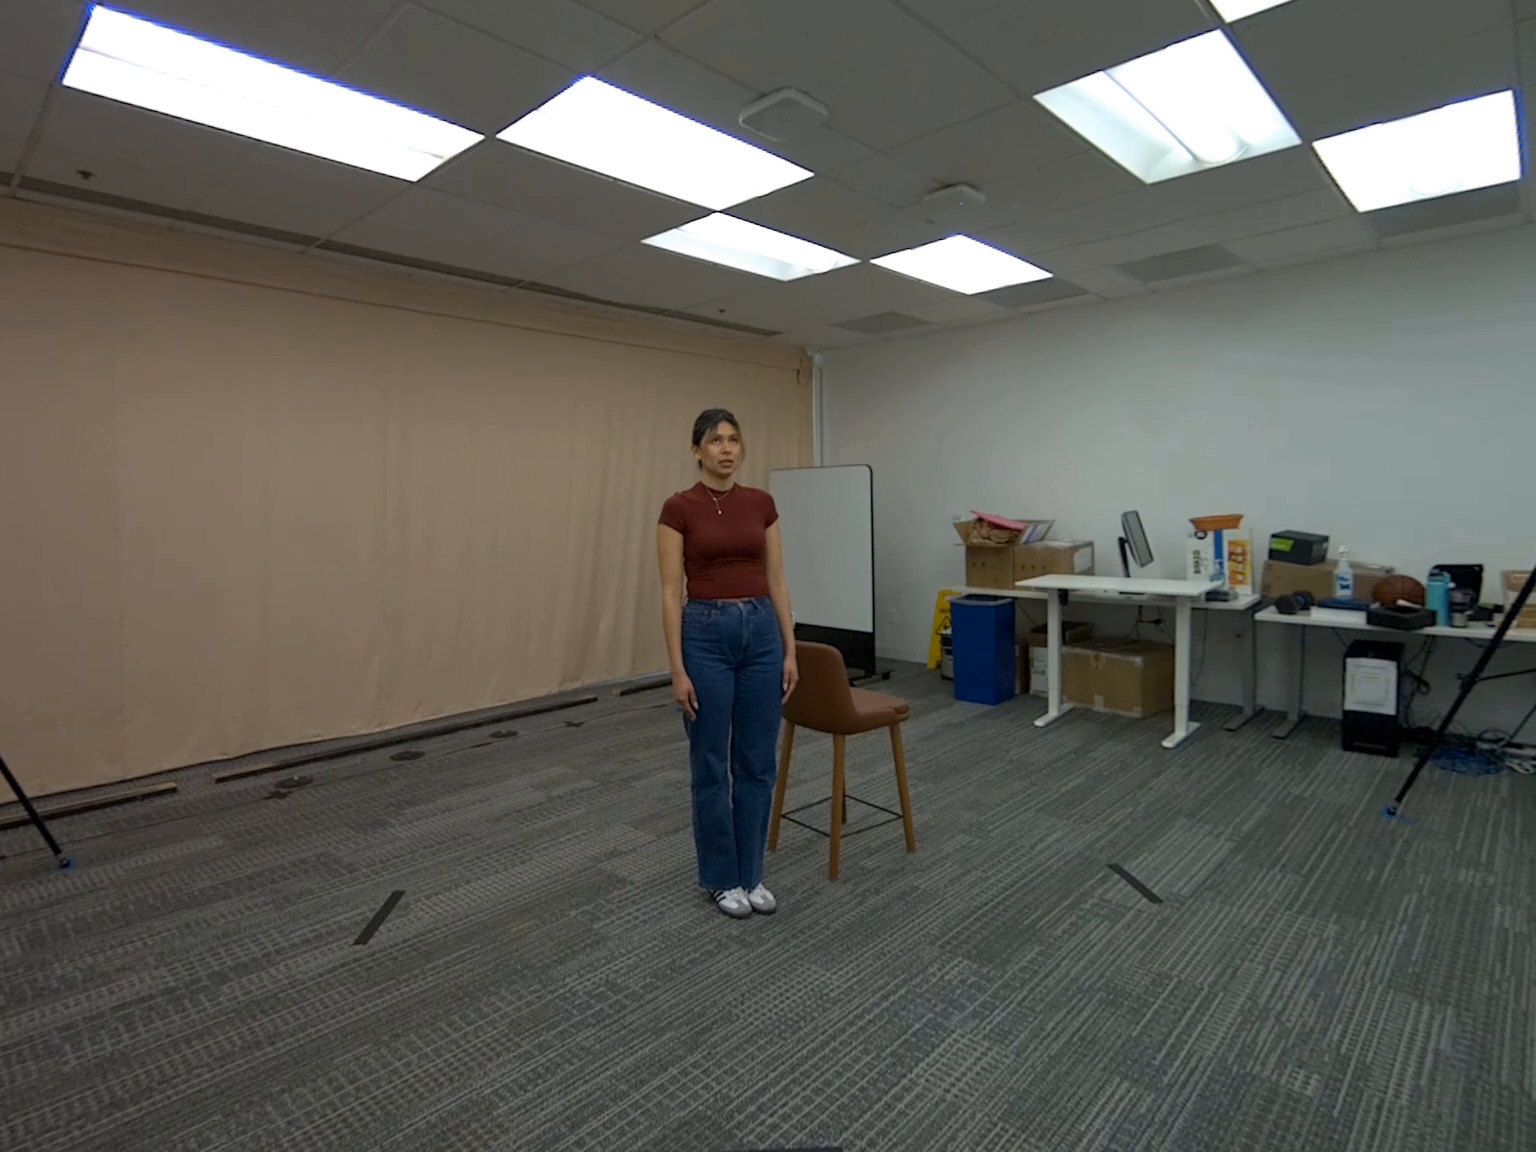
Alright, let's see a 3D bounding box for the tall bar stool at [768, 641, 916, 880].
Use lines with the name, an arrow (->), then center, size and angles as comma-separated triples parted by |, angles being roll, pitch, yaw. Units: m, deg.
tall bar stool -> 0.282, 0.666, 3.357 | 0.454, 0.887, 0.471 | -6, 6, -38
